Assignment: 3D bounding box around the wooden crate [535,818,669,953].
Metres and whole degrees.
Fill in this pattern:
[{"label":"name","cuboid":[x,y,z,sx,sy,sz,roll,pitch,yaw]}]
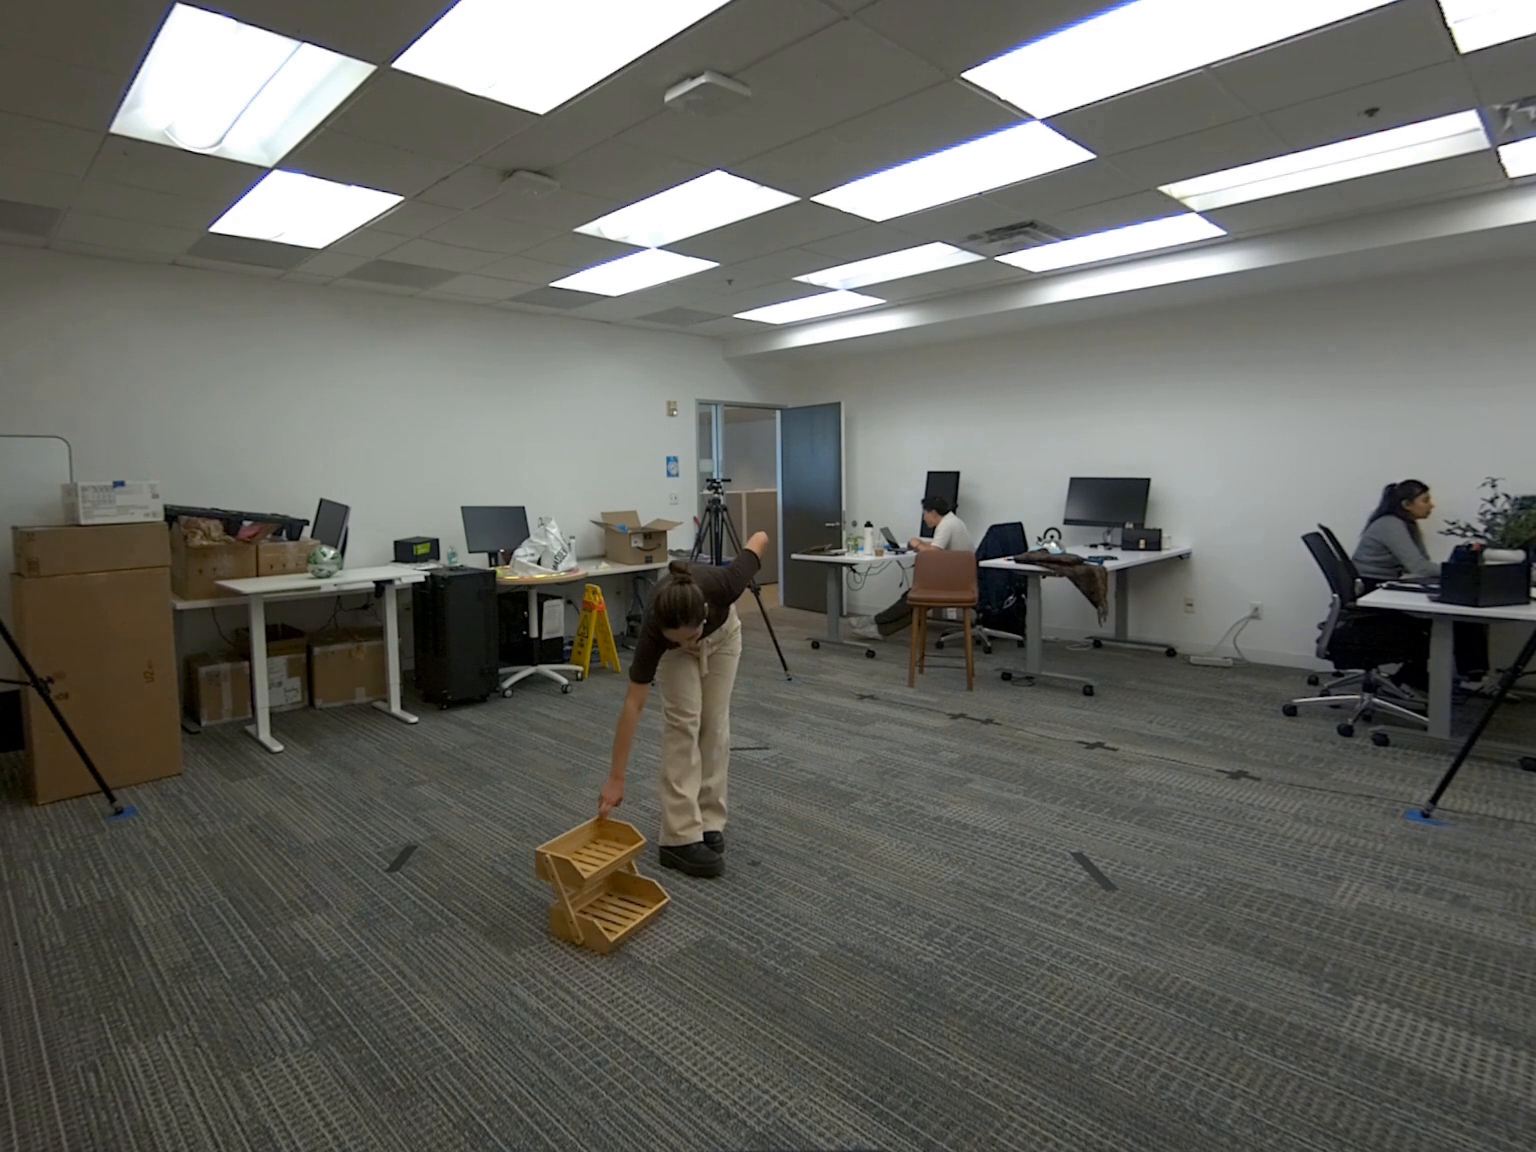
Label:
[{"label":"wooden crate","cuboid":[-0.514,0.963,2.713,0.310,0.272,0.317,1,6,31]}]
